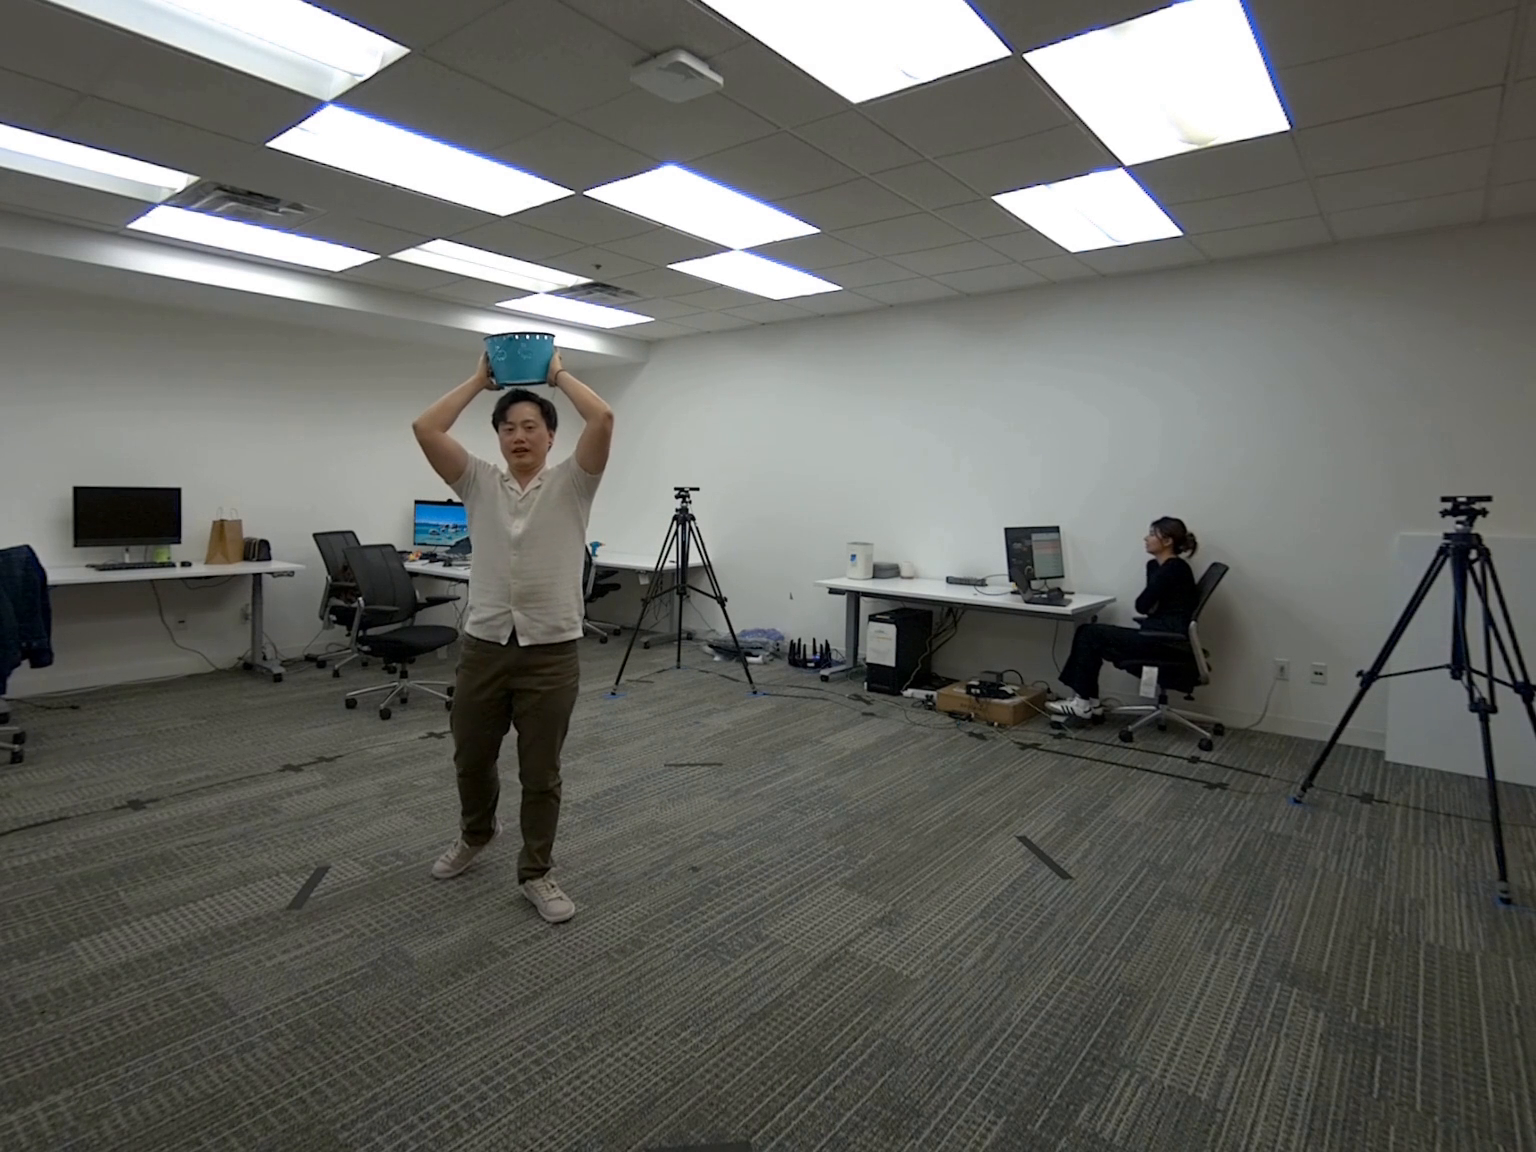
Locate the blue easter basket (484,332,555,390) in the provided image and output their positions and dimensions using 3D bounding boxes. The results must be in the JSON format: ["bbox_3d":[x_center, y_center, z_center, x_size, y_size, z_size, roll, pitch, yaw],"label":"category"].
[{"bbox_3d":[-0.827,-0.715,2.794,0.243,0.155,0.245,-5,6,-1],"label":"blue easter basket"}]
